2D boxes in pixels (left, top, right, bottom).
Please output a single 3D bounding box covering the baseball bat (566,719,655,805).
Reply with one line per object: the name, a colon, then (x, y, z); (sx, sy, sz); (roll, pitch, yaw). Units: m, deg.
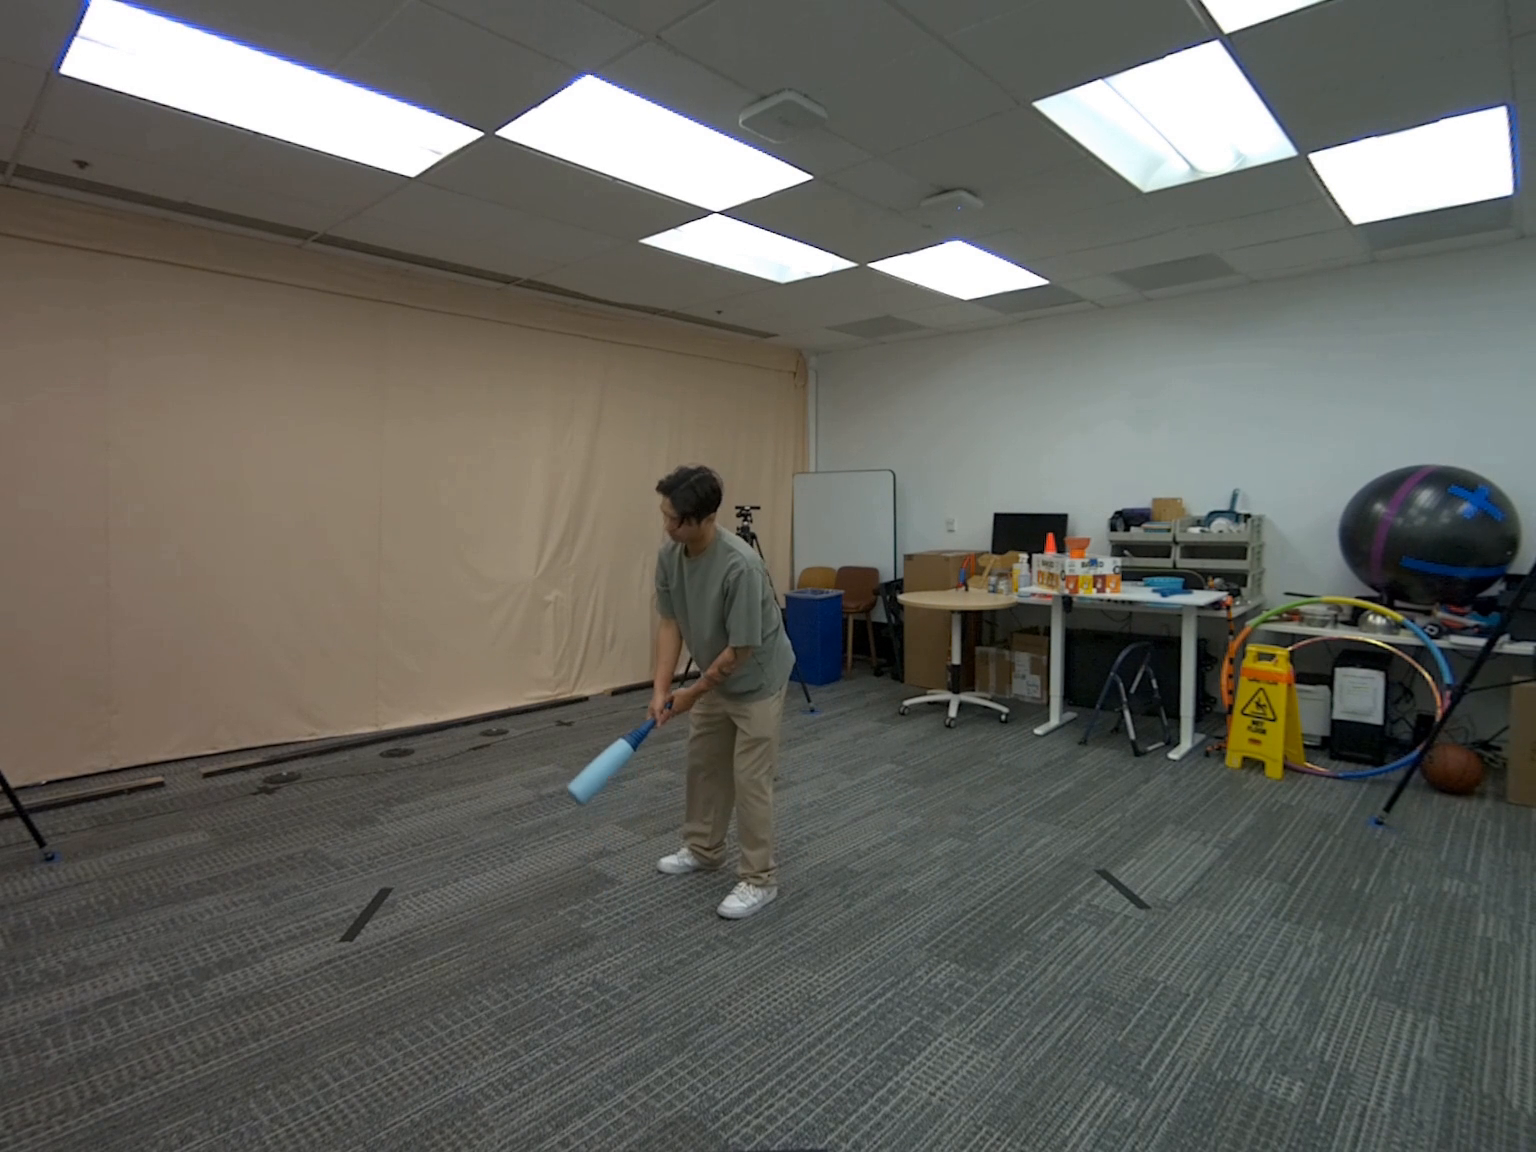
baseball bat: (-0.461, 0.576, 2.882); (0.538, 0.087, 0.092); (-43, 27, -28)
